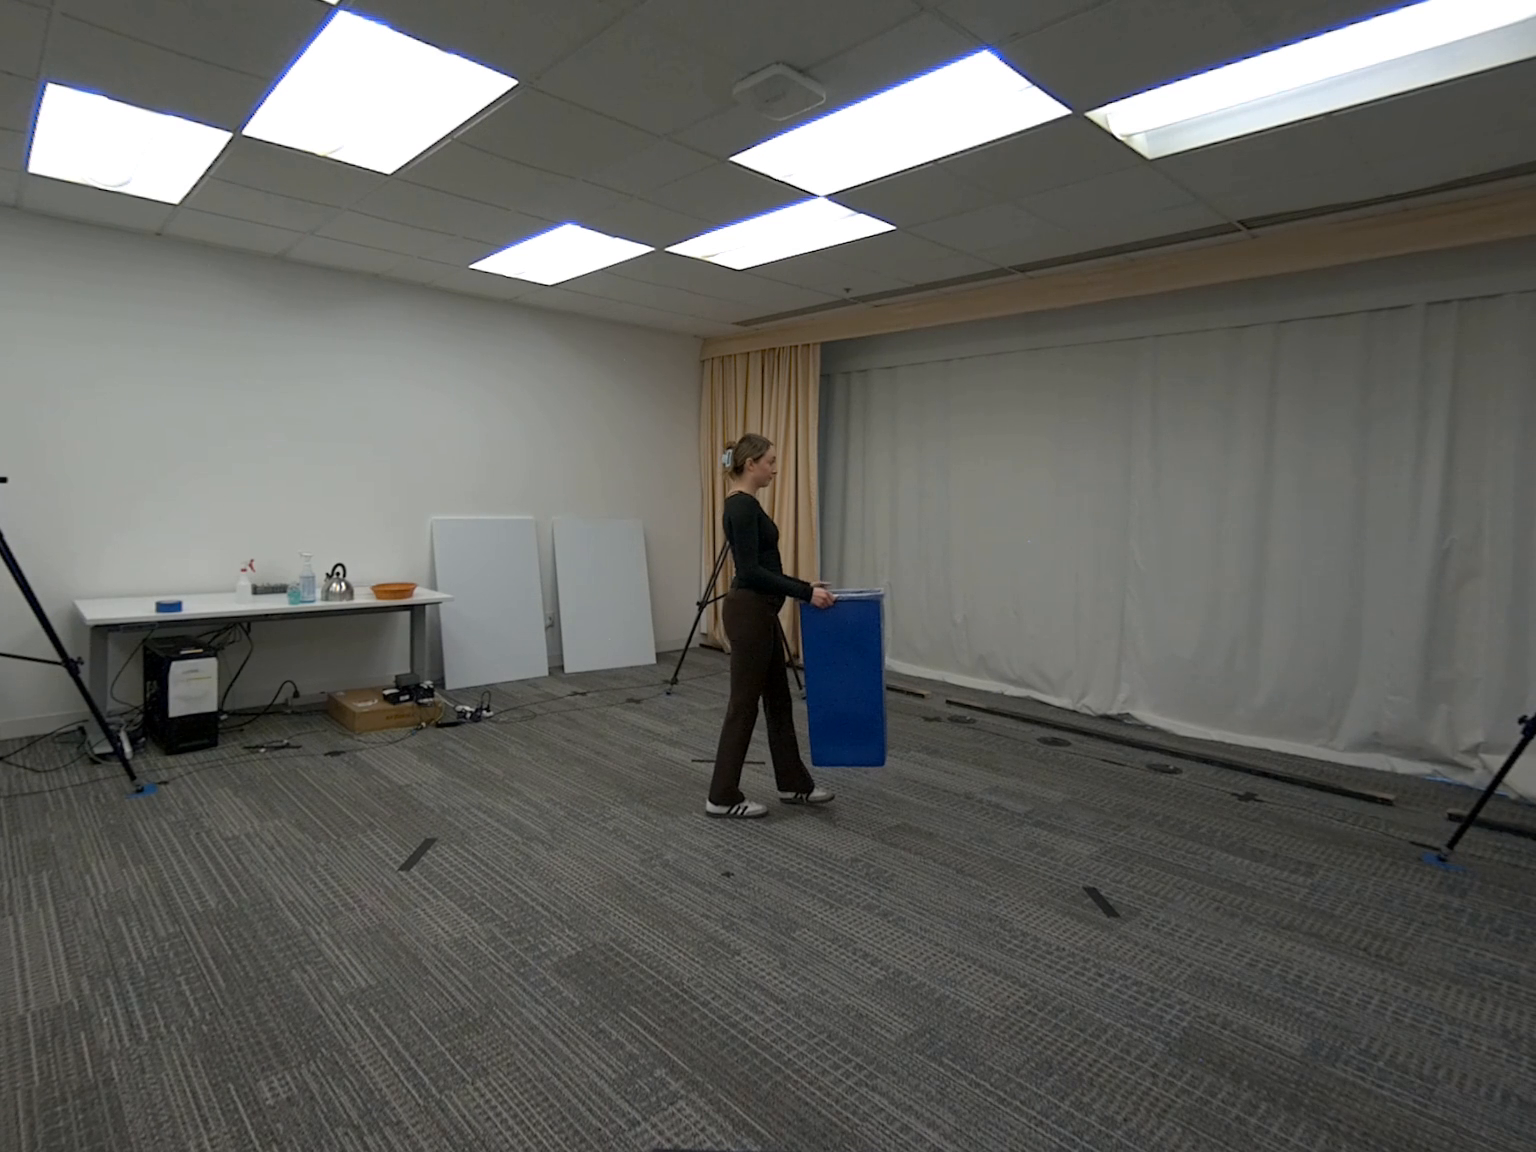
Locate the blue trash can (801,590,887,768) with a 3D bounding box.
[{"bbox_3d":[0.326,0.429,3.633,0.381,0.713,0.371,-3,2,10],"label":"blue trash can"}]
